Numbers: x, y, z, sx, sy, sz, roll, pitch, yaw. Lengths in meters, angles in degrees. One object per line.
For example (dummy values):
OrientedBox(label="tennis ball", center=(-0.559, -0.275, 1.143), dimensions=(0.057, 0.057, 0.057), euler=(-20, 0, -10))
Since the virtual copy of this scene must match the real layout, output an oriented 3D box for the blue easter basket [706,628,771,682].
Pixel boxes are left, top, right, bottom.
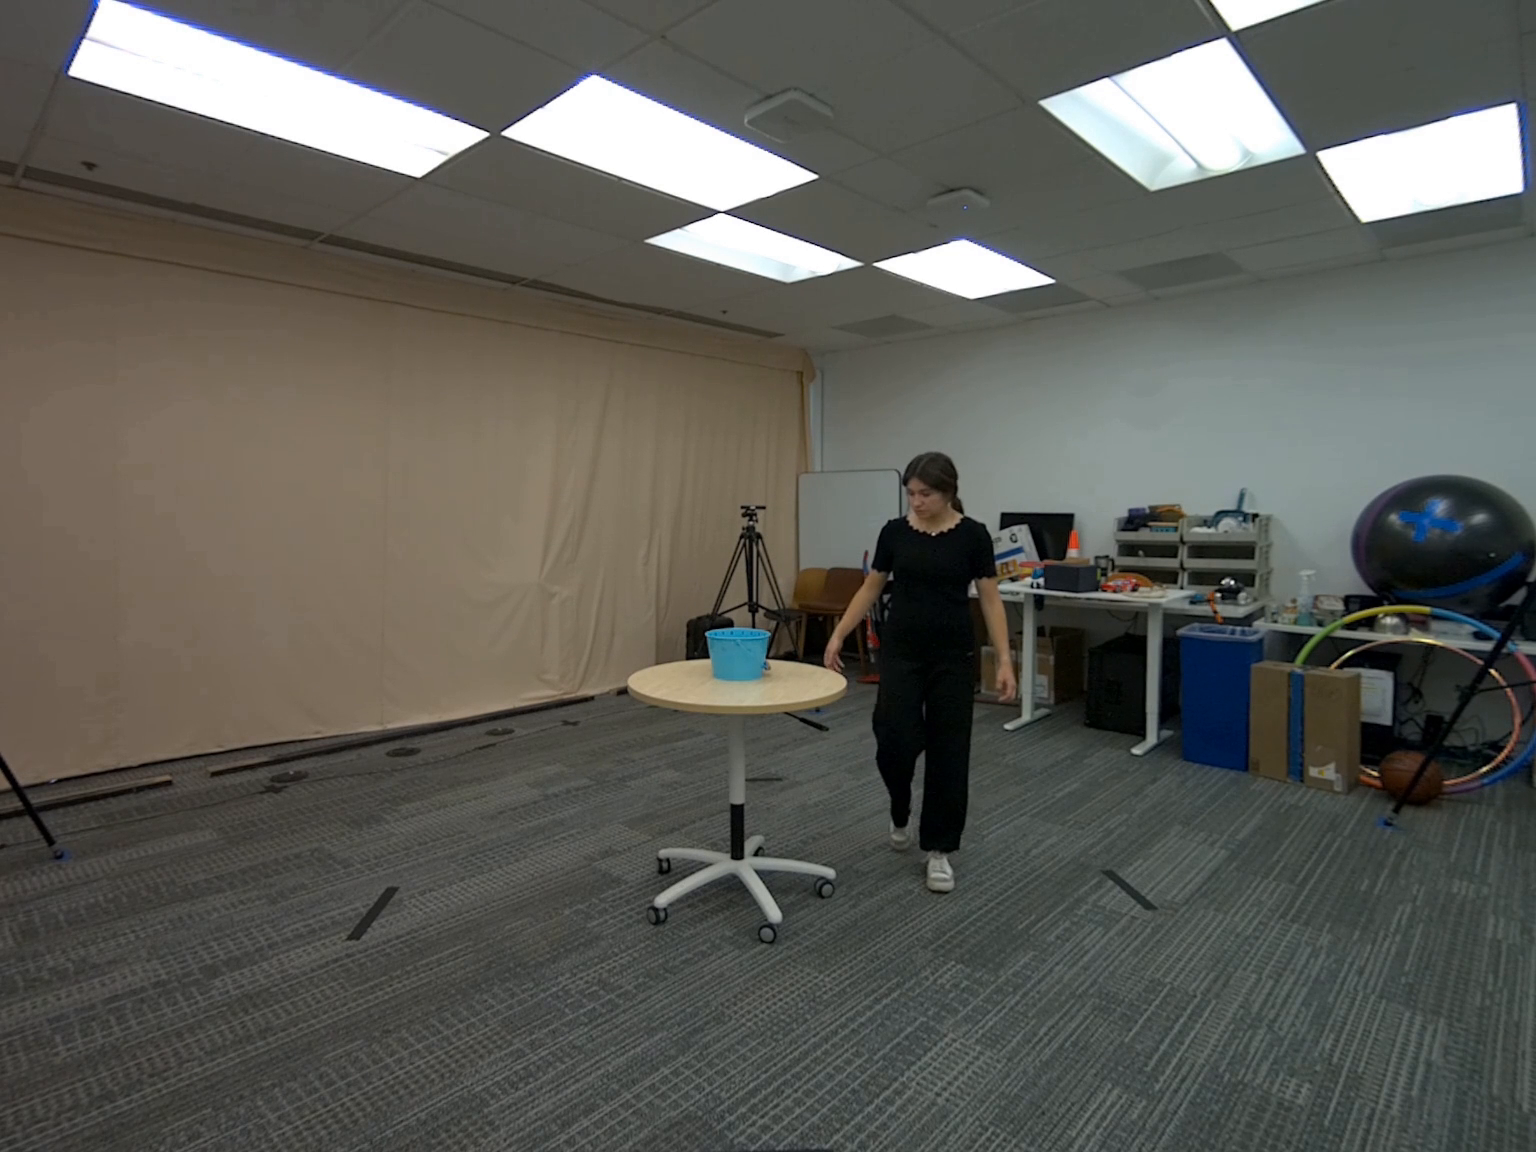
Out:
OrientedBox(label="blue easter basket", center=(-0.103, 0.285, 3.011), dimensions=(0.243, 0.155, 0.244), euler=(0, 5, -2))
